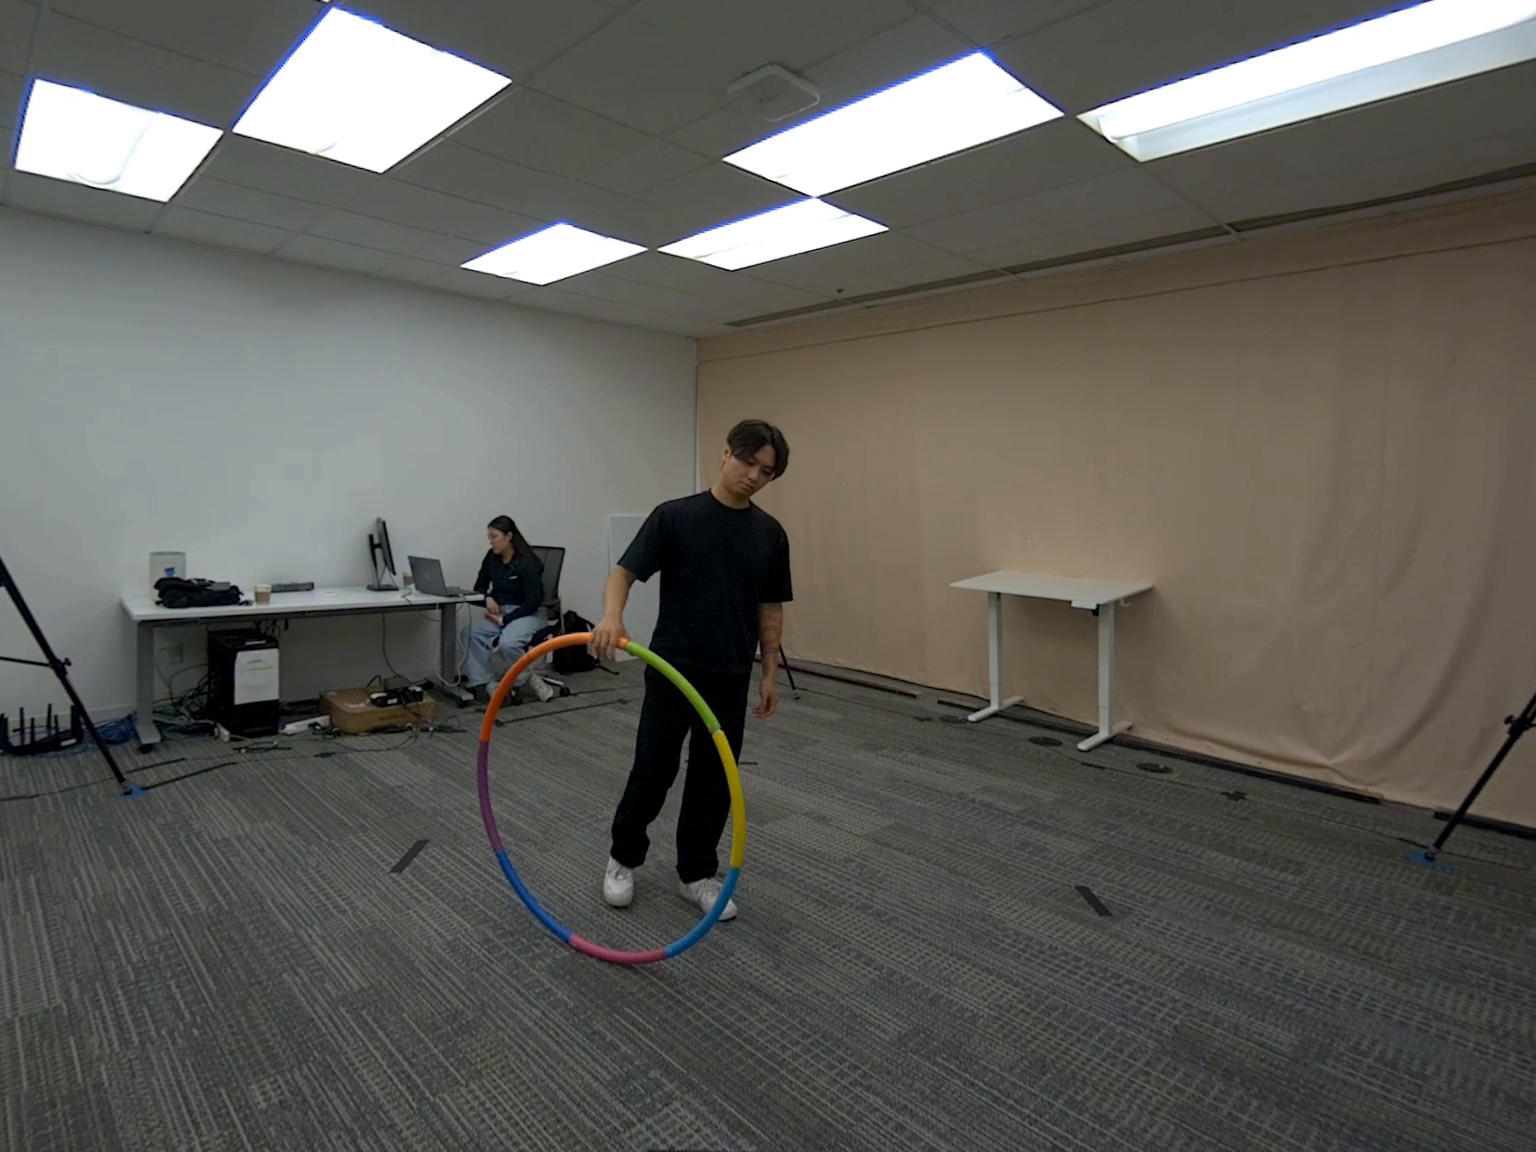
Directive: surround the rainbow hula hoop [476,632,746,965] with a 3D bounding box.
[{"bbox_3d":[-0.509,0.664,2.521,0.999,0.976,0.035,4,4,28],"label":"rainbow hula hoop"}]
